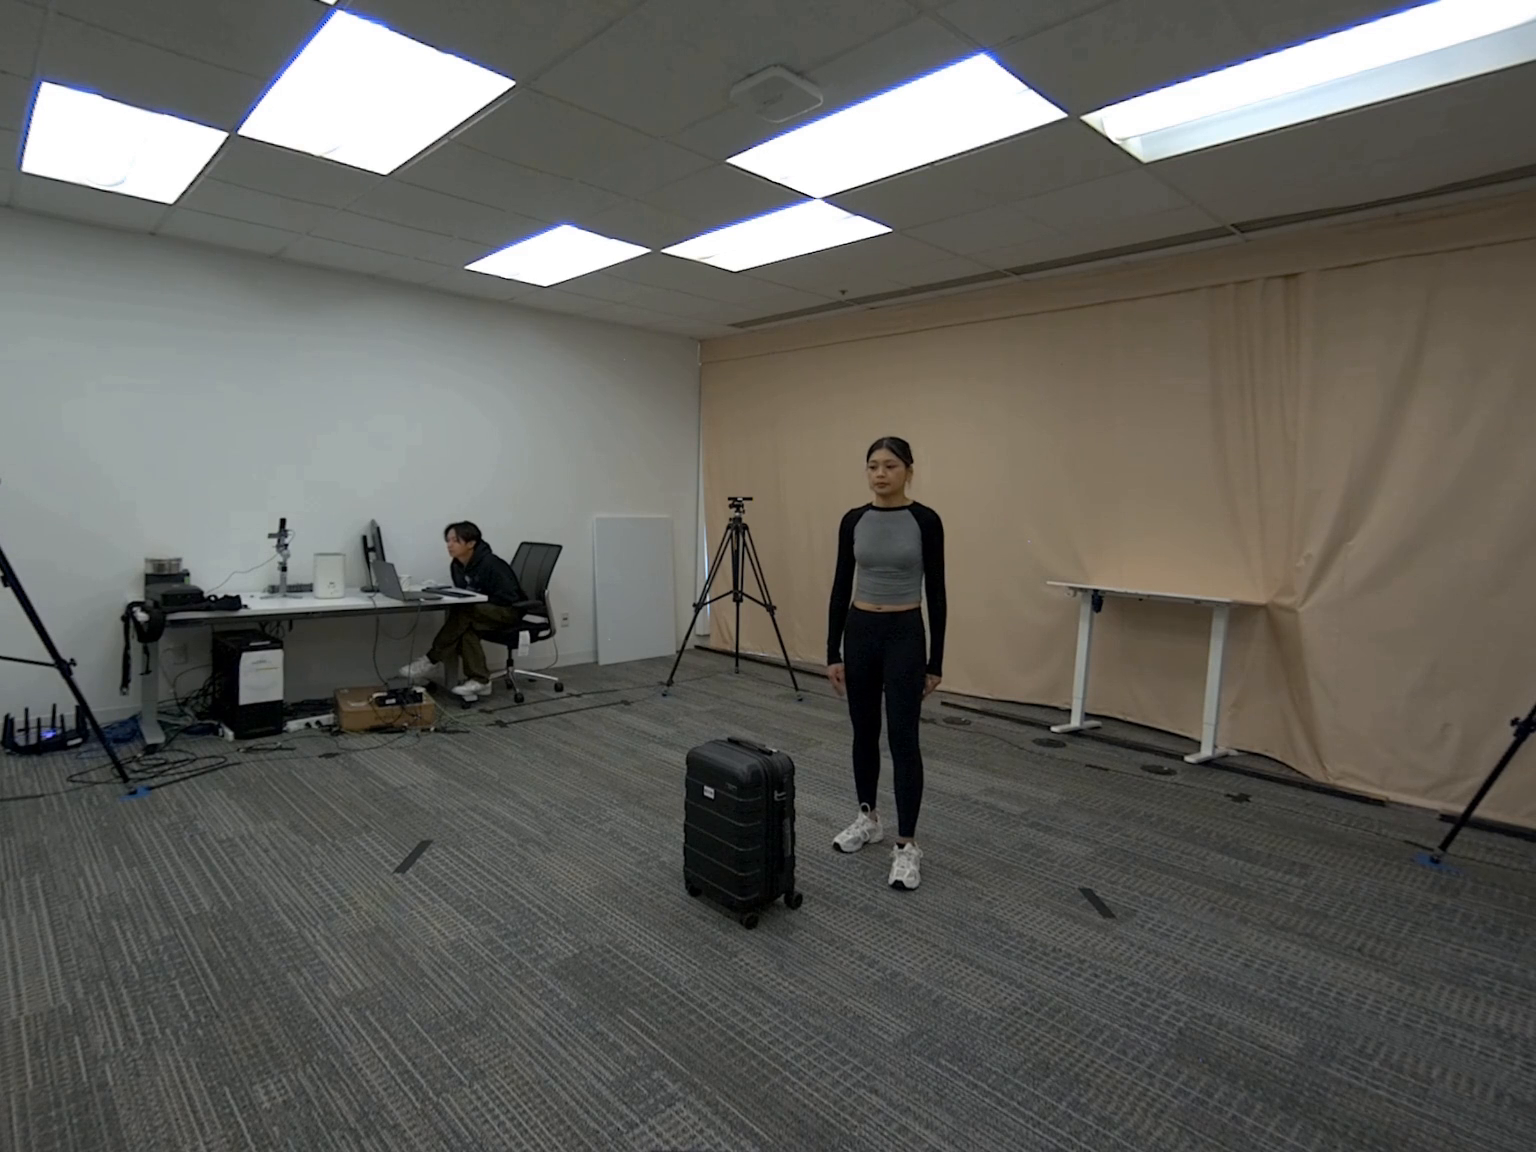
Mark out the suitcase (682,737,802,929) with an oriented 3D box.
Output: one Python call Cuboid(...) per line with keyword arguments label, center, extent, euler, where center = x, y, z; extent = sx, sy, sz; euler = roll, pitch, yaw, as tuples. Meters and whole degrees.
Cuboid(label="suitcase", center=(-0.101, 0.853, 2.891), extent=(0.243, 0.547, 0.385), euler=(-5, 7, -41))
